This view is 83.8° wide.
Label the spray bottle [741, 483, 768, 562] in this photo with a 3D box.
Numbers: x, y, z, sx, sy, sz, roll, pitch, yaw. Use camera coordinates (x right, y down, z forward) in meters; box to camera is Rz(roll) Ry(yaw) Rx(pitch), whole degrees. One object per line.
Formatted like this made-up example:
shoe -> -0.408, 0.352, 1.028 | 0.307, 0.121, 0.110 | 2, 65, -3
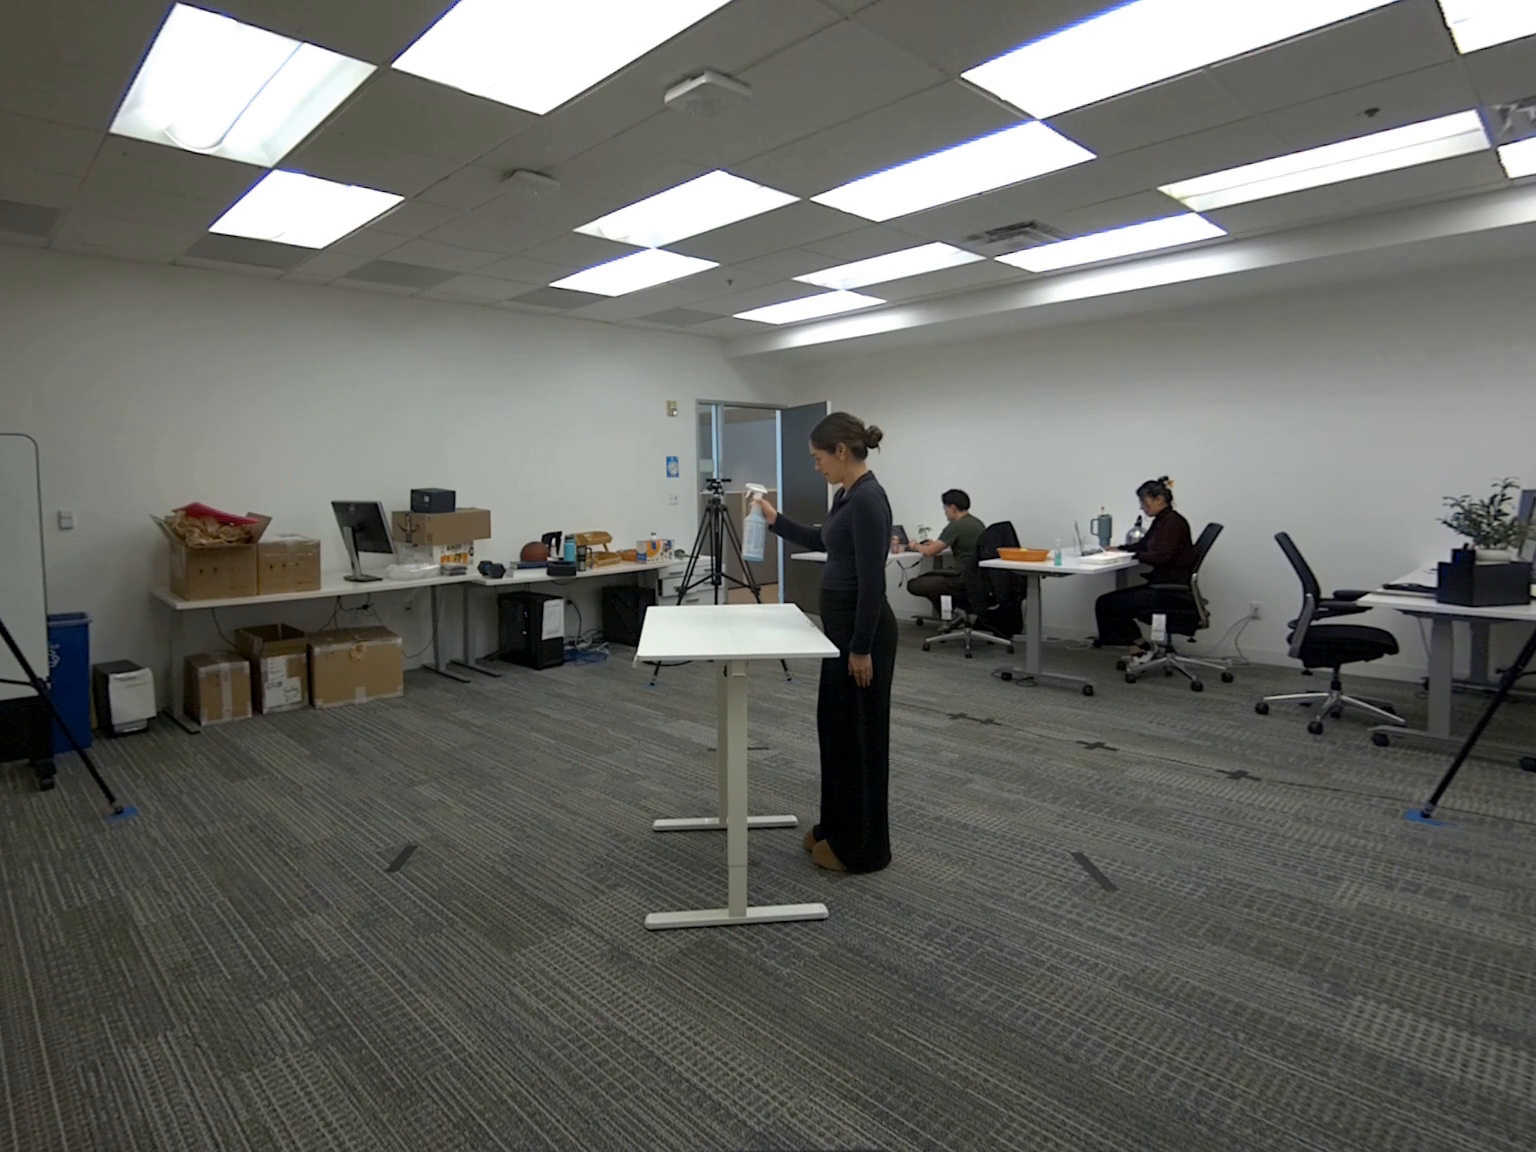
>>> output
spray bottle -> -0.053, -0.209, 3.349 | 0.090, 0.297, 0.087 | 4, 2, 4
